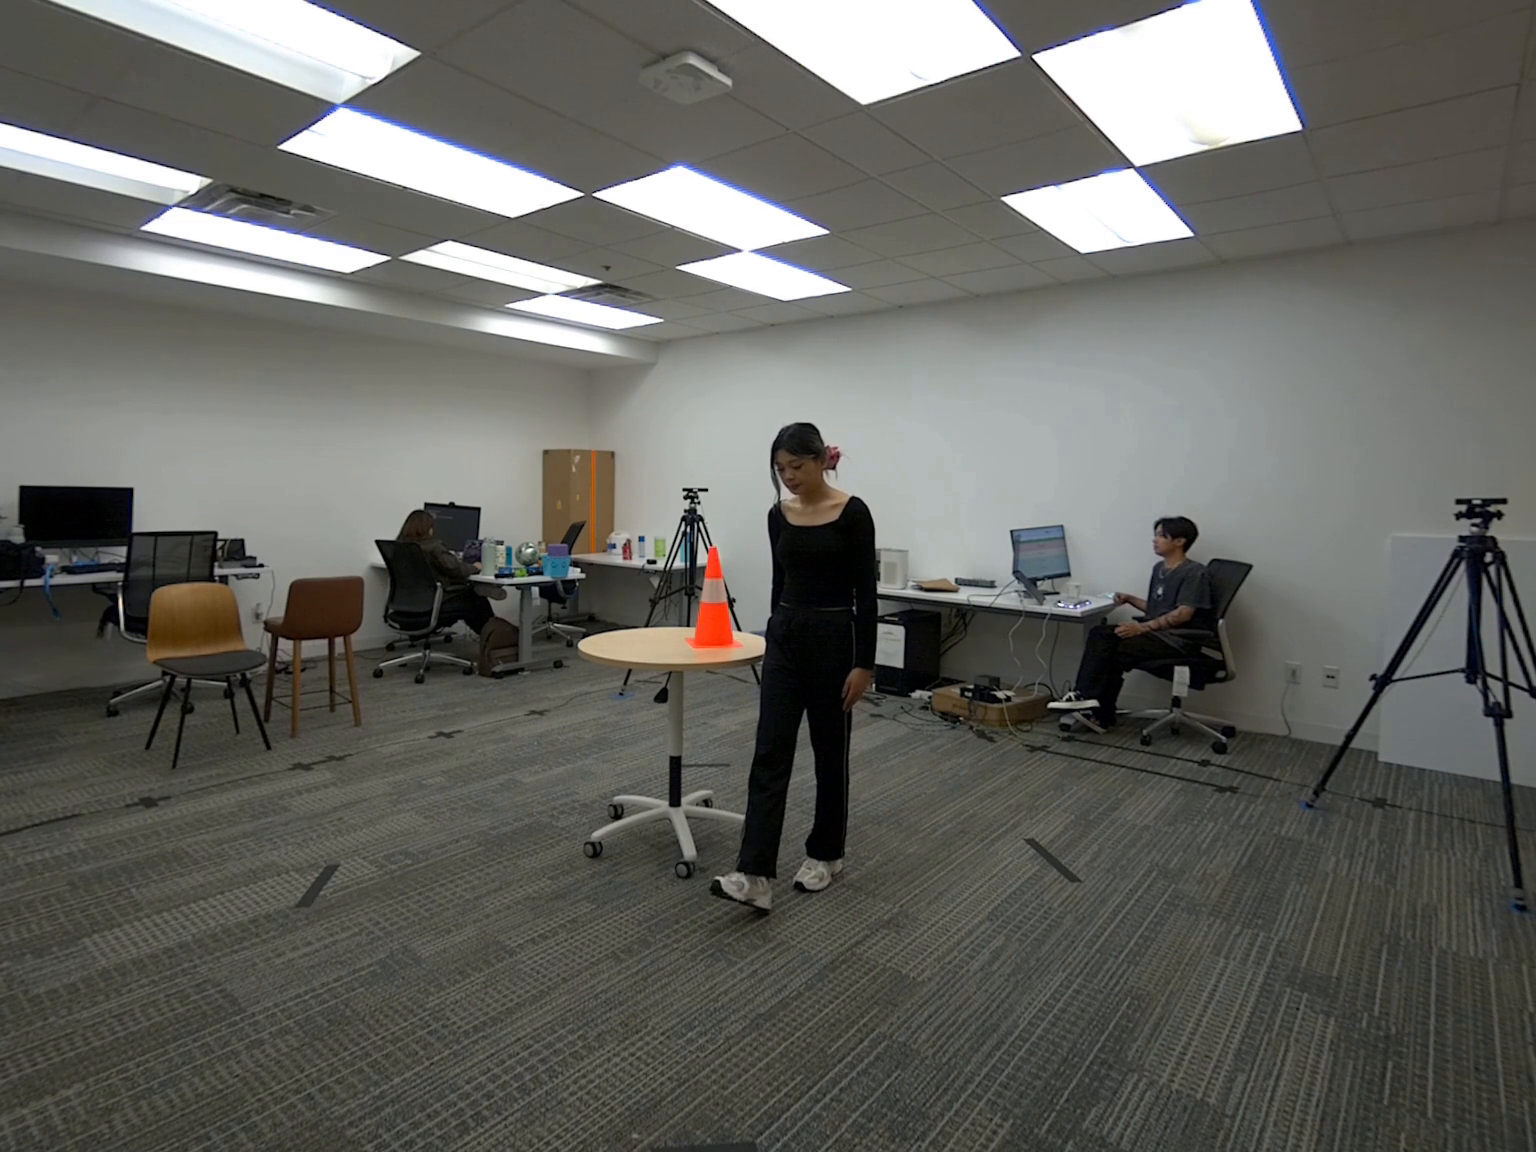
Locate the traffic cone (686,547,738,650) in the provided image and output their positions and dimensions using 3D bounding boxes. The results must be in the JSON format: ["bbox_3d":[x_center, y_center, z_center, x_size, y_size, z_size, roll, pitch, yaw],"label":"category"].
[{"bbox_3d":[-0.223,0.075,3.339,0.200,0.383,0.209,1,3,-17],"label":"traffic cone"}]
